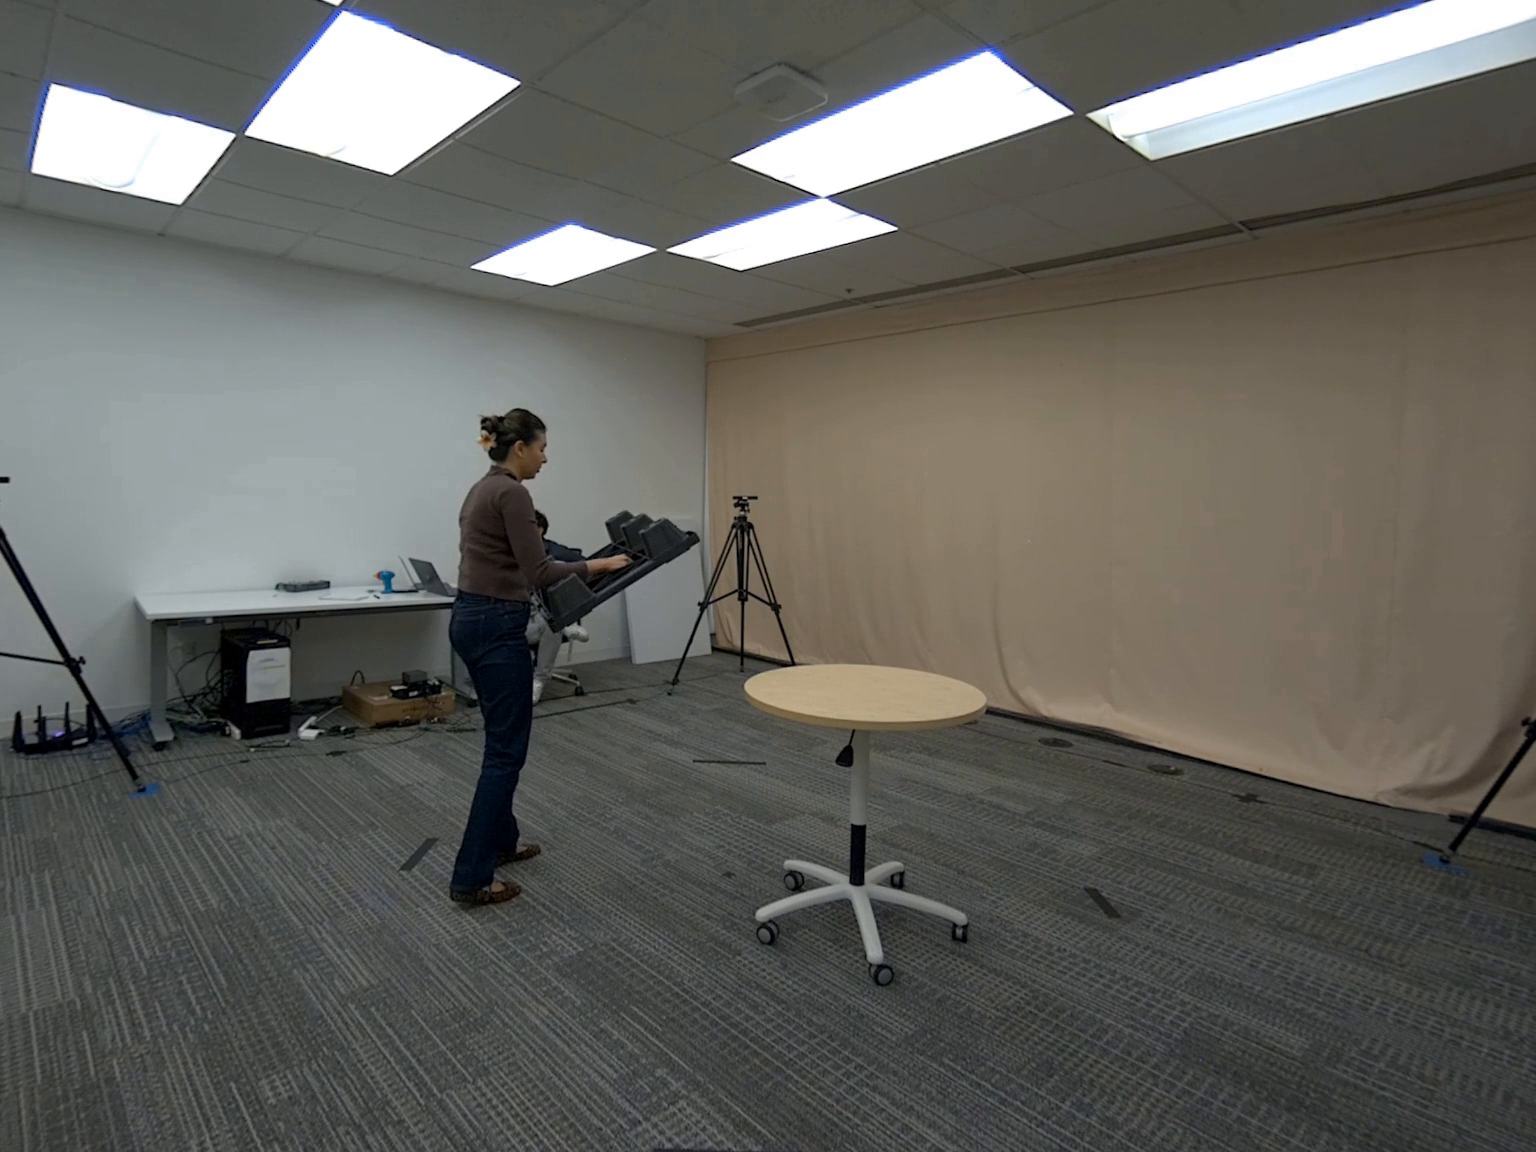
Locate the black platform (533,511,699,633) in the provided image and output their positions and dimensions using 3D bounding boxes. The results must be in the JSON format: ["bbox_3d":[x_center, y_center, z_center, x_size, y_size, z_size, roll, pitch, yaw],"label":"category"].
[{"bbox_3d":[-0.650,-0.057,3.237,0.603,0.141,0.820,-33,17,-14],"label":"black platform"}]
